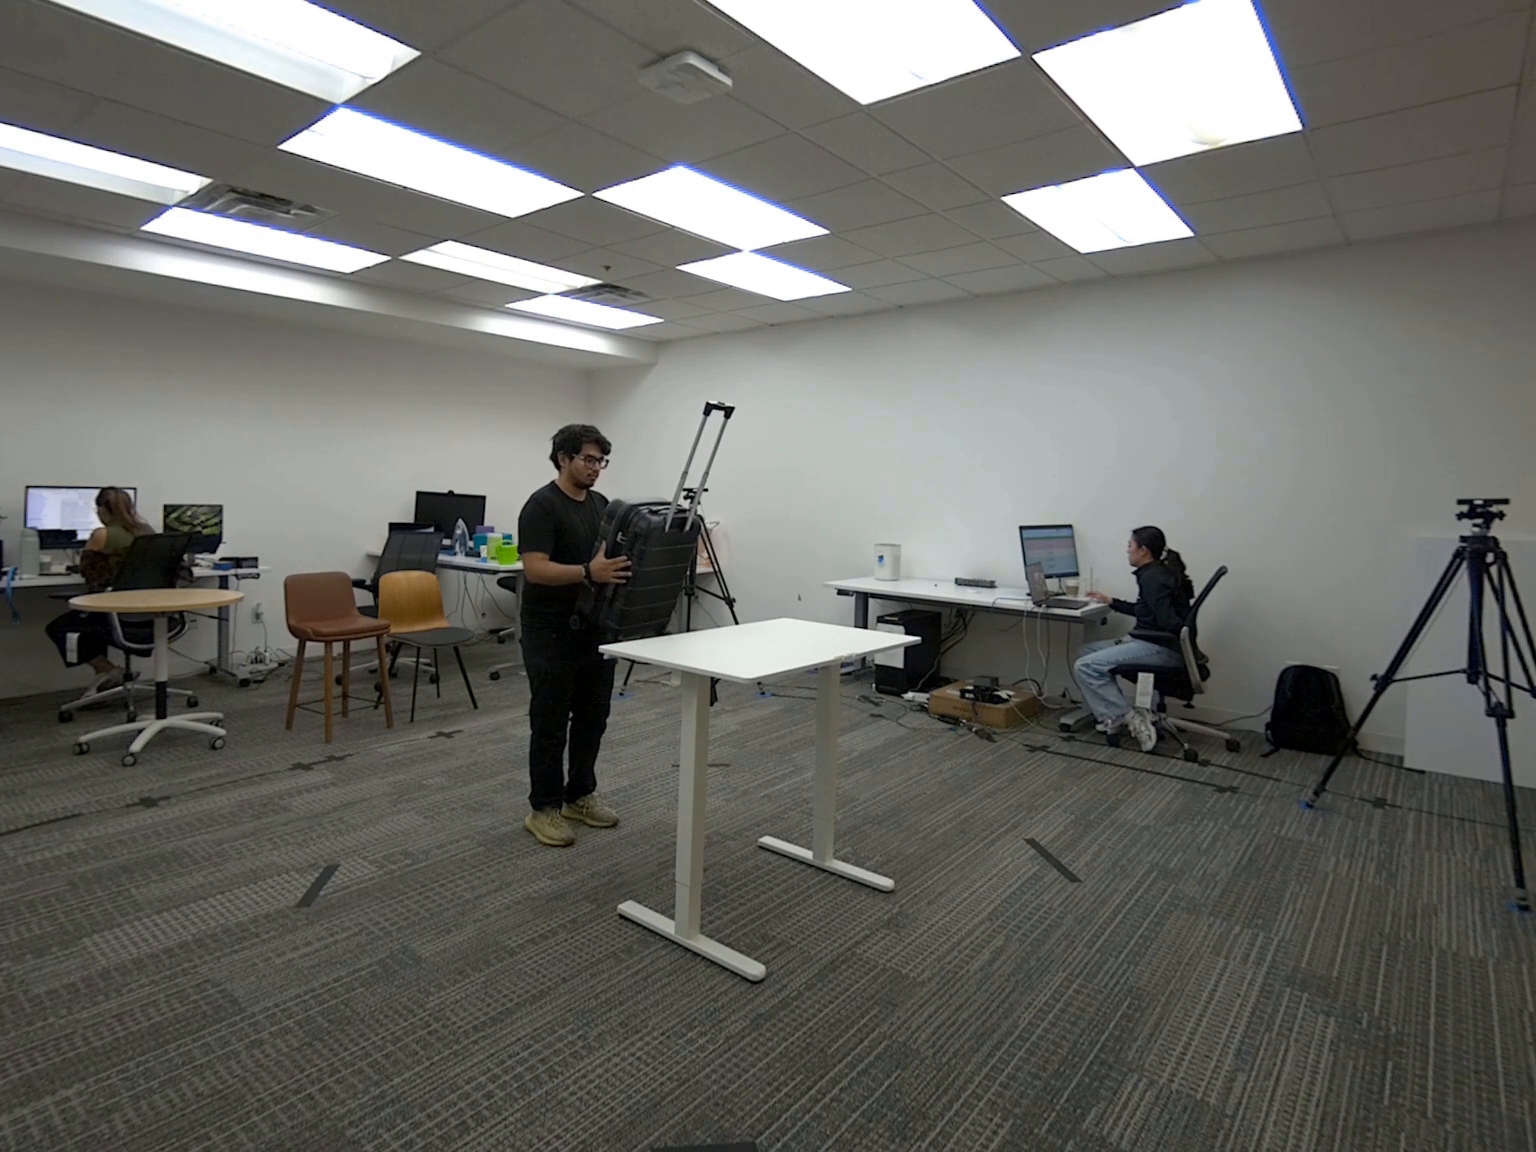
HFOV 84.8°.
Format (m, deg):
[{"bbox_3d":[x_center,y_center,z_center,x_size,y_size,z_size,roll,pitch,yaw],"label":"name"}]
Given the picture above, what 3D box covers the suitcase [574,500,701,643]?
[{"bbox_3d":[-0.436,-0.214,3.192,0.267,0.971,0.373,27,16,30],"label":"suitcase"}]
